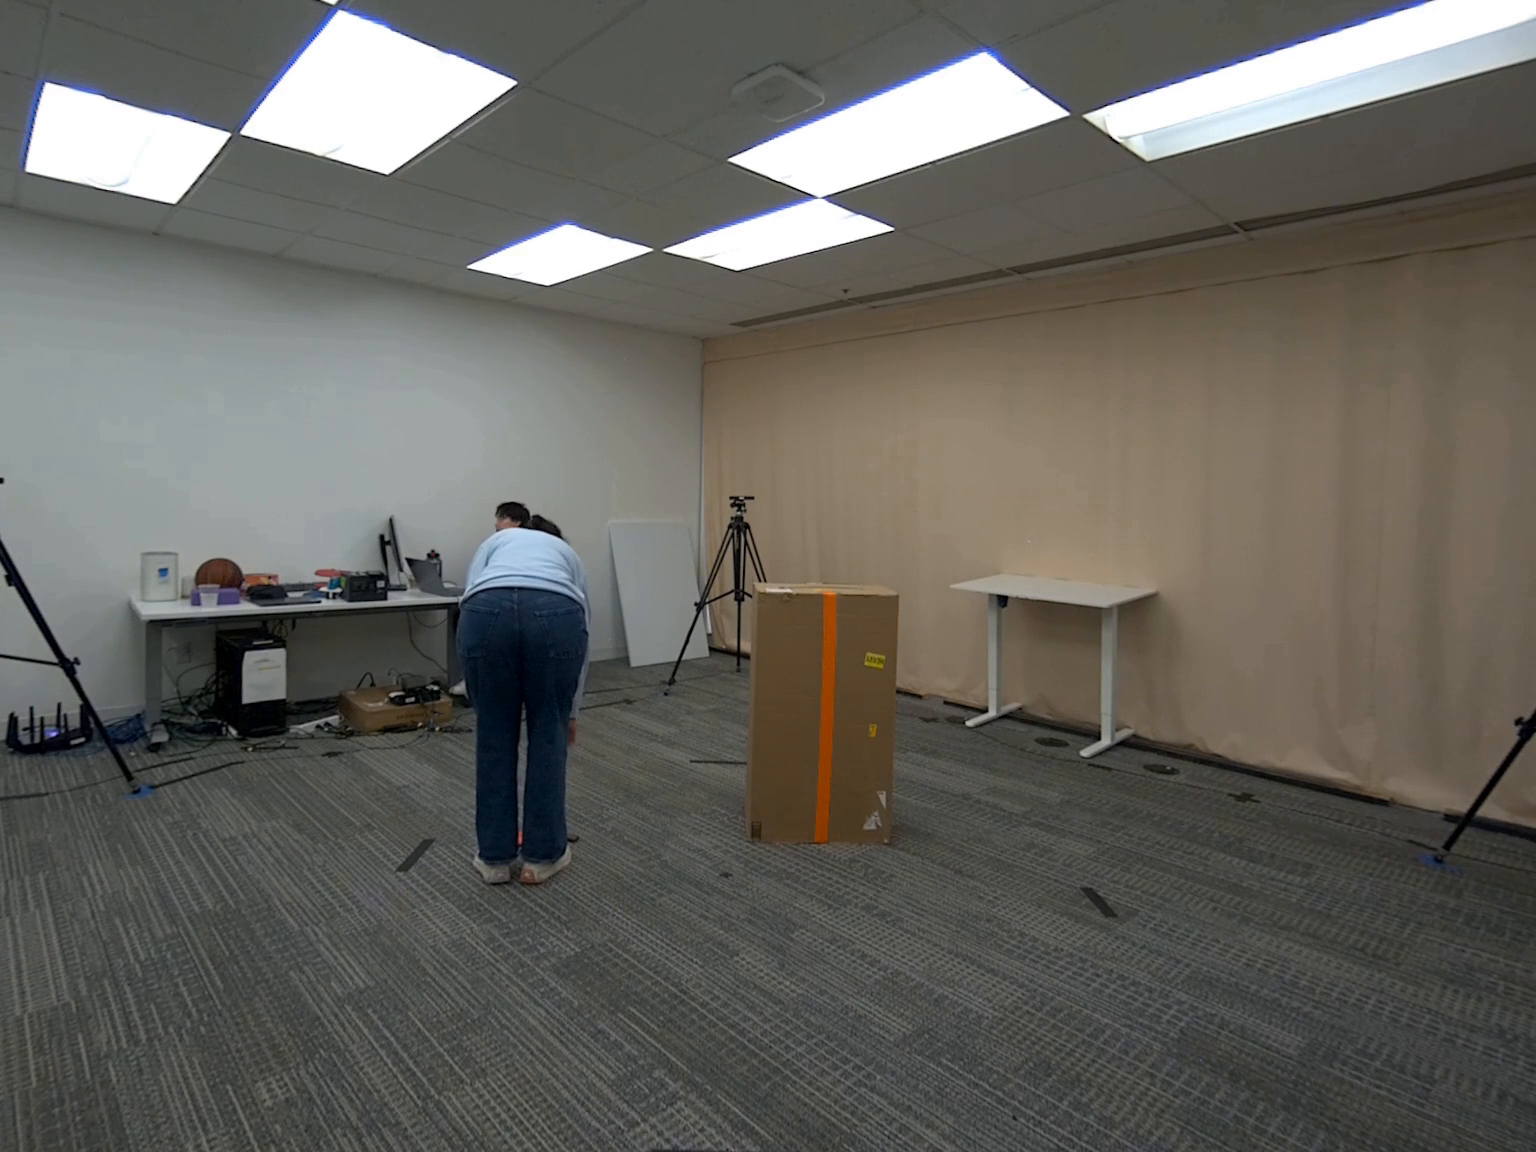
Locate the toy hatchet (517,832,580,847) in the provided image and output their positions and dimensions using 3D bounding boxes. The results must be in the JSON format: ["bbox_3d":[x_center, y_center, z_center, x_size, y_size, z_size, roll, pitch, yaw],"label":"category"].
[{"bbox_3d":[-0.905,1.055,3.353,0.272,0.029,0.130,3,4,9],"label":"toy hatchet"}]
